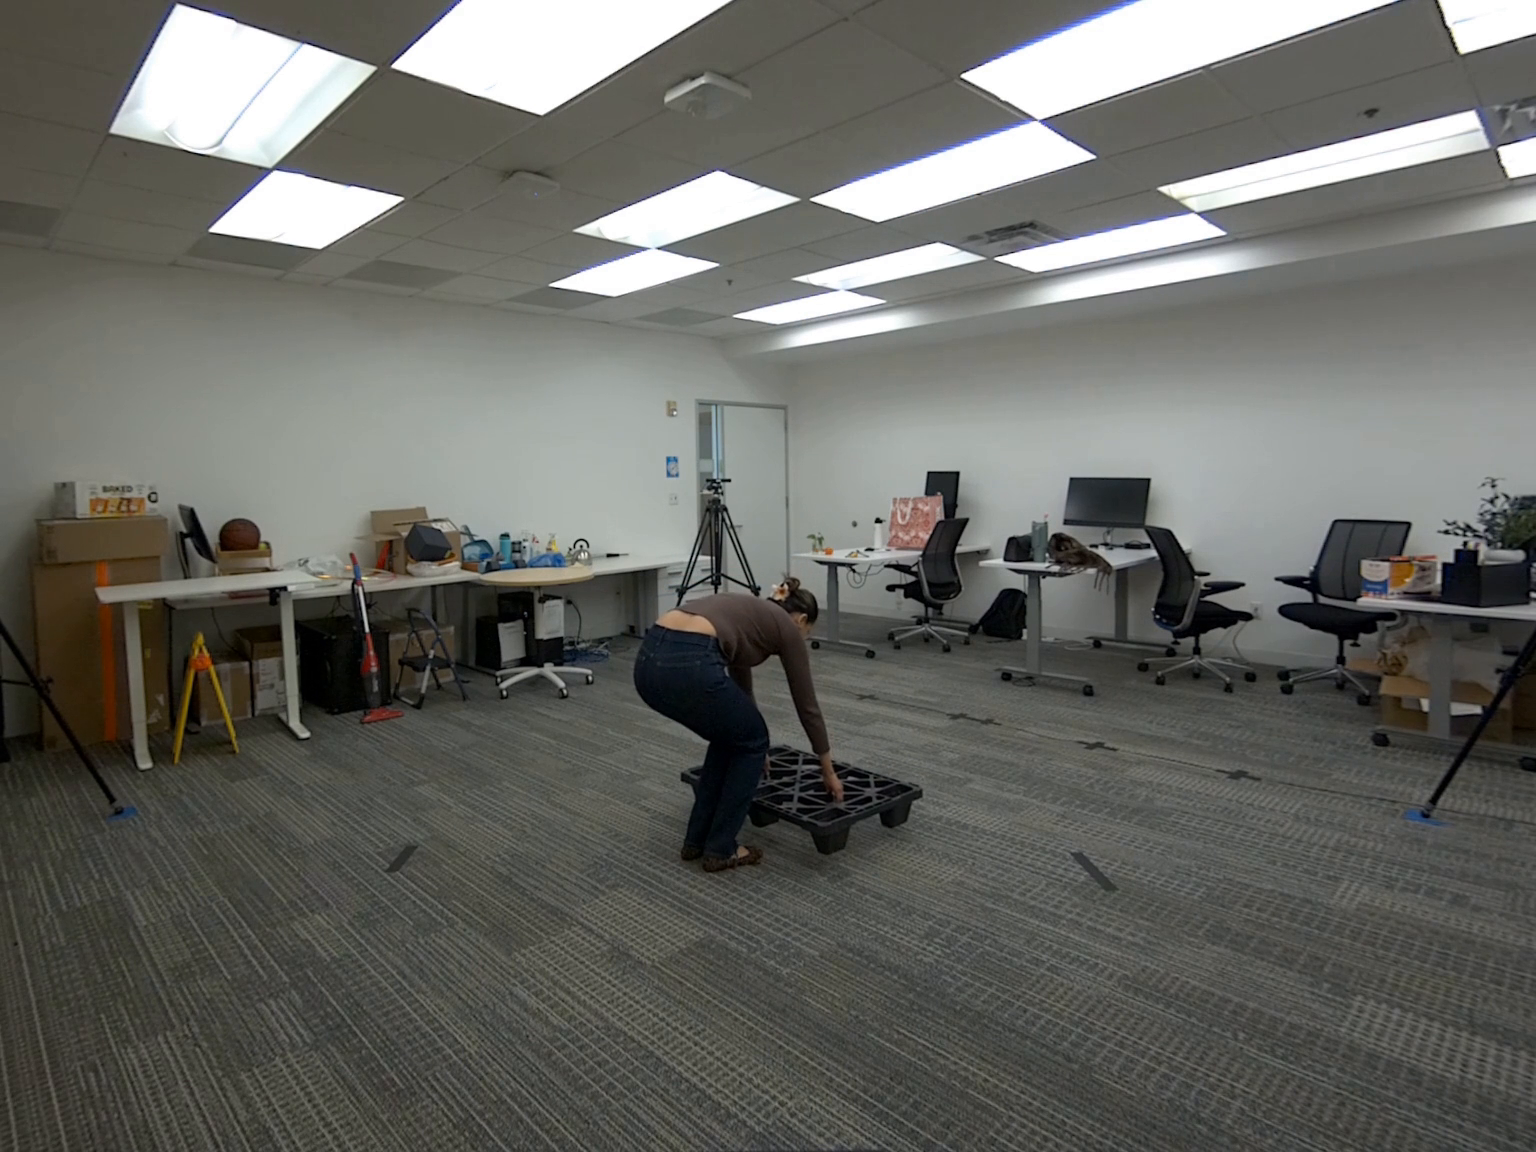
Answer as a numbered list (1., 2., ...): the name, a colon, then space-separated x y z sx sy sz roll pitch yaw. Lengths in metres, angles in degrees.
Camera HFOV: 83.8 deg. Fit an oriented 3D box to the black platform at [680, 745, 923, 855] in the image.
1. black platform: 0.122 0.889 3.446 0.589 0.143 0.830 -6 7 -43
